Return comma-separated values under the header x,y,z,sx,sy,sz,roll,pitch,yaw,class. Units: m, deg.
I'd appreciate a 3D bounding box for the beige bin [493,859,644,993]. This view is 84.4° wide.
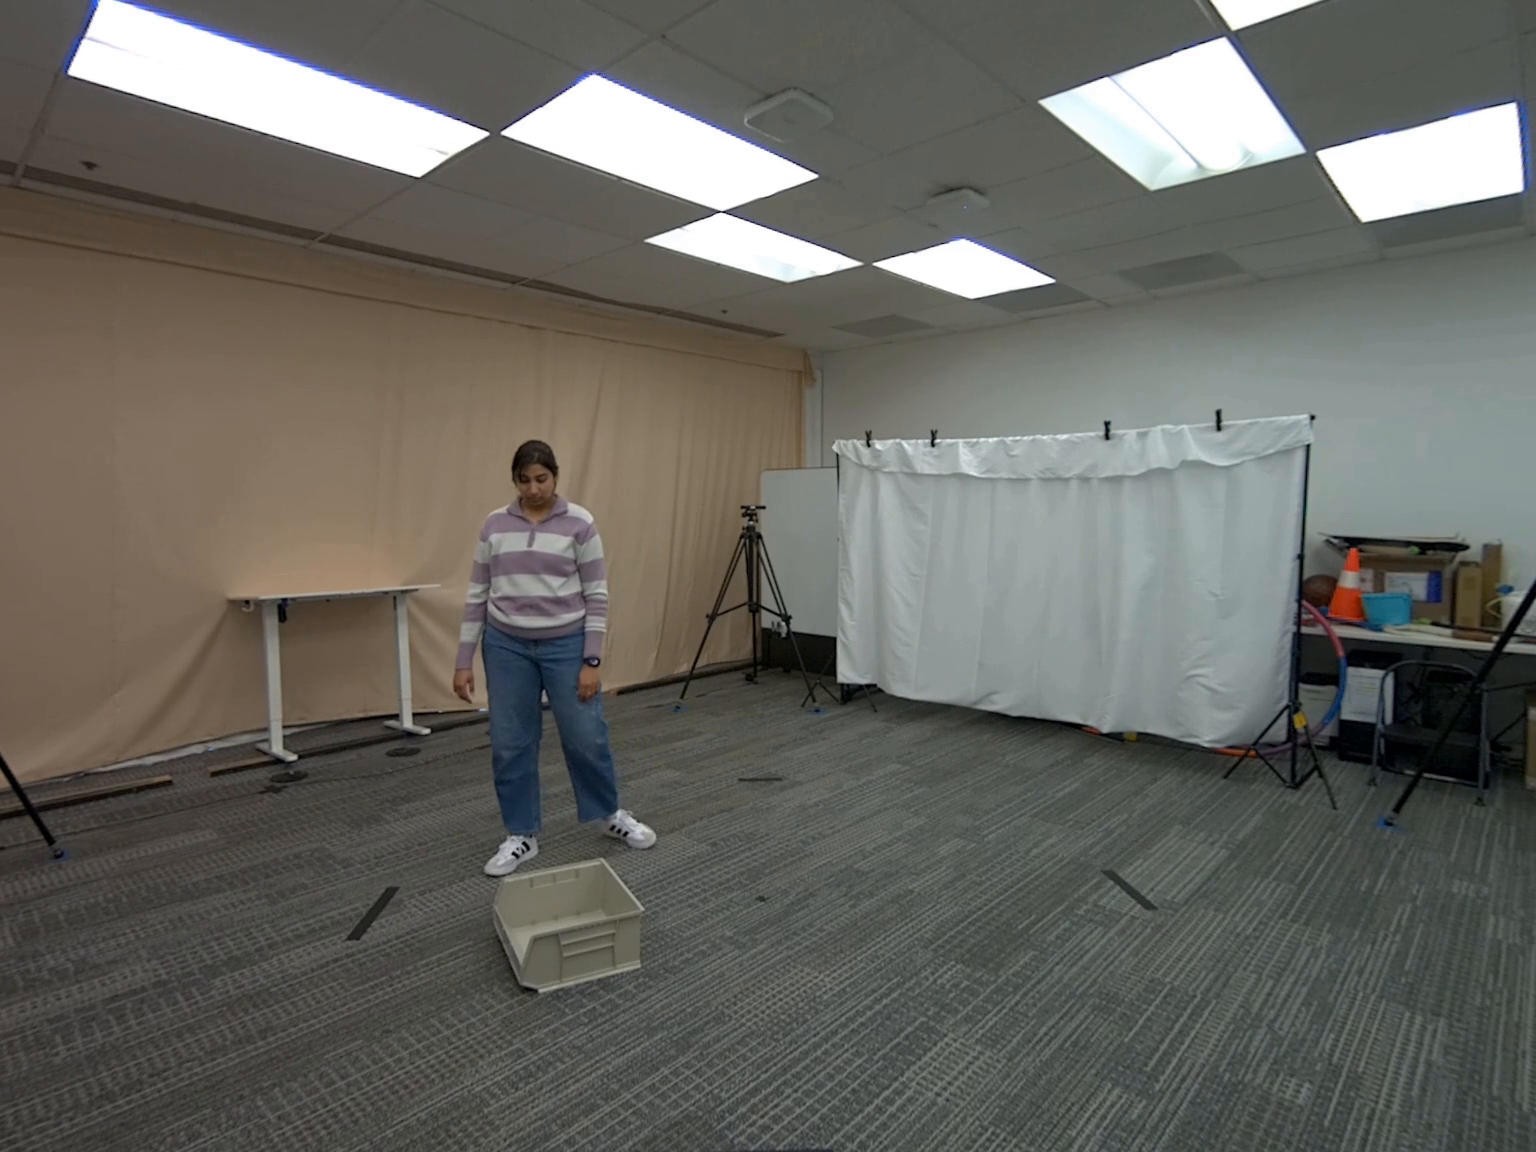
x,y,z,sx,sy,sz,roll,pitch,yaw,class
-0.634,1.090,2.642,0.368,0.188,0.434,-1,4,-28,beige bin
